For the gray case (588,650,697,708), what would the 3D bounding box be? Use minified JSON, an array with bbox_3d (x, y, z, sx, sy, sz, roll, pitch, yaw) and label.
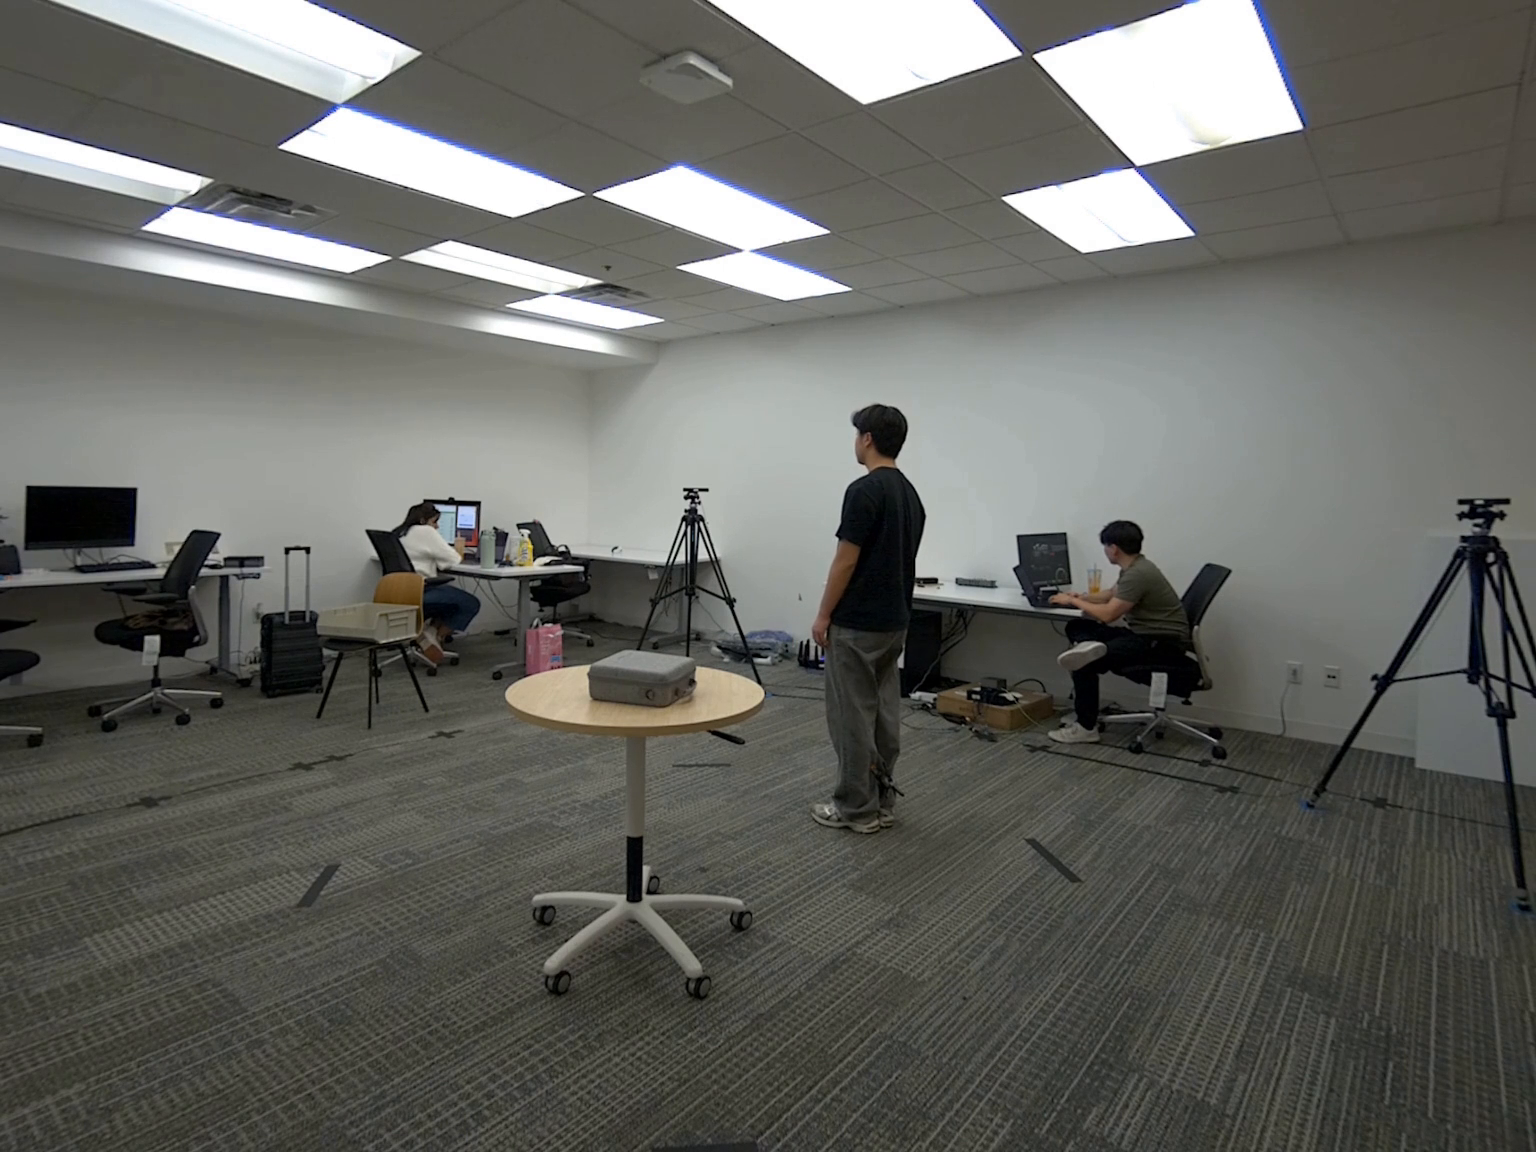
[{"bbox_3d":[-0.361,0.296,2.491,0.293,0.102,0.259,4,7,17],"label":"gray case"}]
